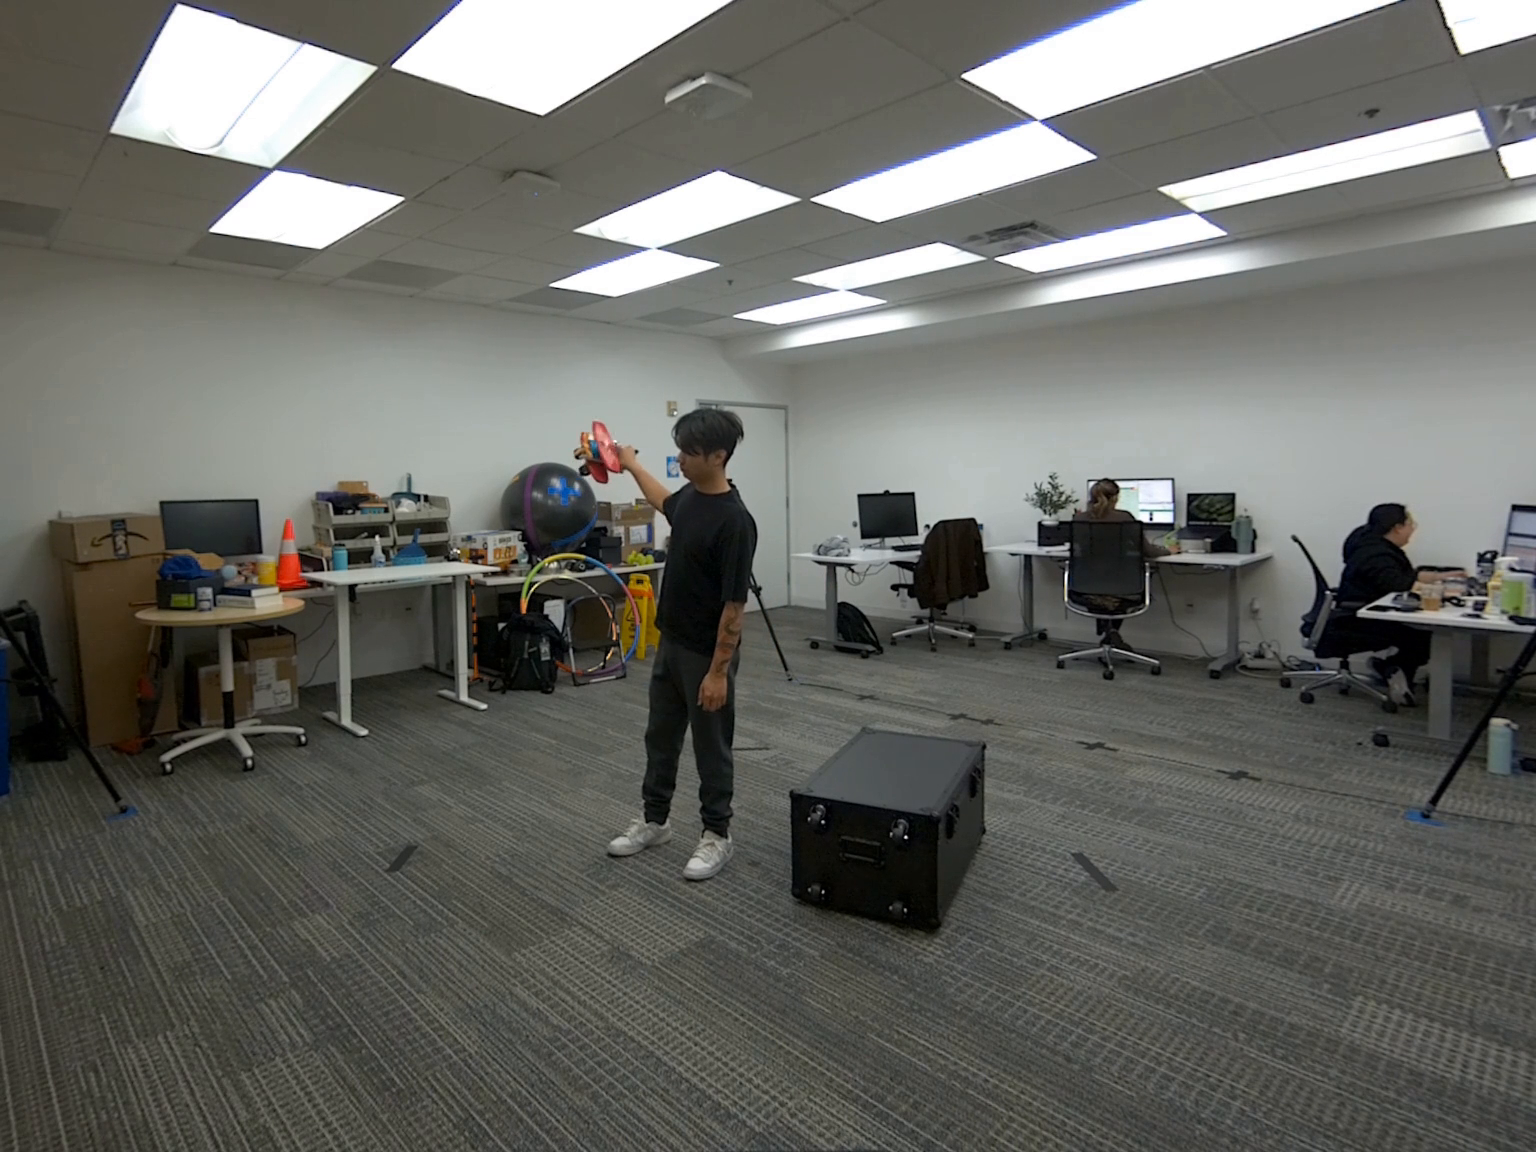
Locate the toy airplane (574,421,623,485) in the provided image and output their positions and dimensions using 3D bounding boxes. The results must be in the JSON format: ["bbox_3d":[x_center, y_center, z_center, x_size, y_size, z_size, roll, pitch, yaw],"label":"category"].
[{"bbox_3d":[-0.677,-0.494,3.513,0.257,0.253,0.156,-37,-6,-48],"label":"toy airplane"}]
